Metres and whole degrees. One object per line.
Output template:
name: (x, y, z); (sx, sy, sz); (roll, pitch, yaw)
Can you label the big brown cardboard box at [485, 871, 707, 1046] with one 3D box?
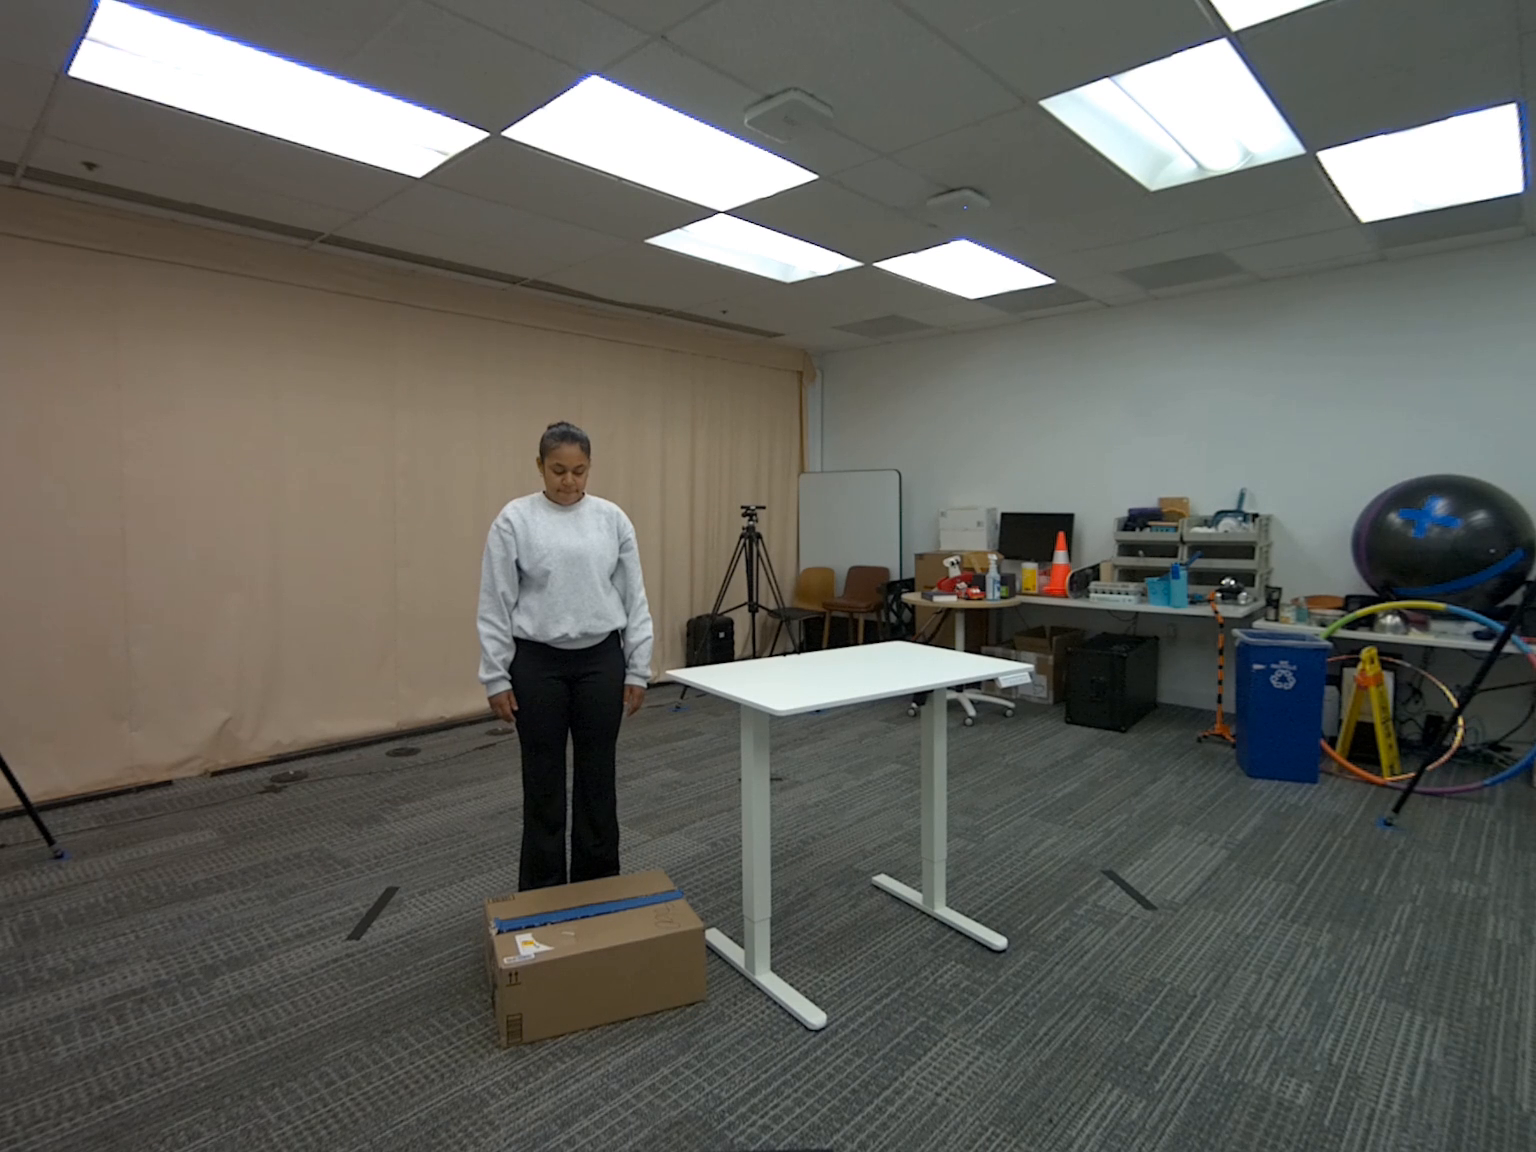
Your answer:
big brown cardboard box: (-0.514, 1.083, 2.441); (0.576, 0.233, 0.428); (-1, 4, -23)
